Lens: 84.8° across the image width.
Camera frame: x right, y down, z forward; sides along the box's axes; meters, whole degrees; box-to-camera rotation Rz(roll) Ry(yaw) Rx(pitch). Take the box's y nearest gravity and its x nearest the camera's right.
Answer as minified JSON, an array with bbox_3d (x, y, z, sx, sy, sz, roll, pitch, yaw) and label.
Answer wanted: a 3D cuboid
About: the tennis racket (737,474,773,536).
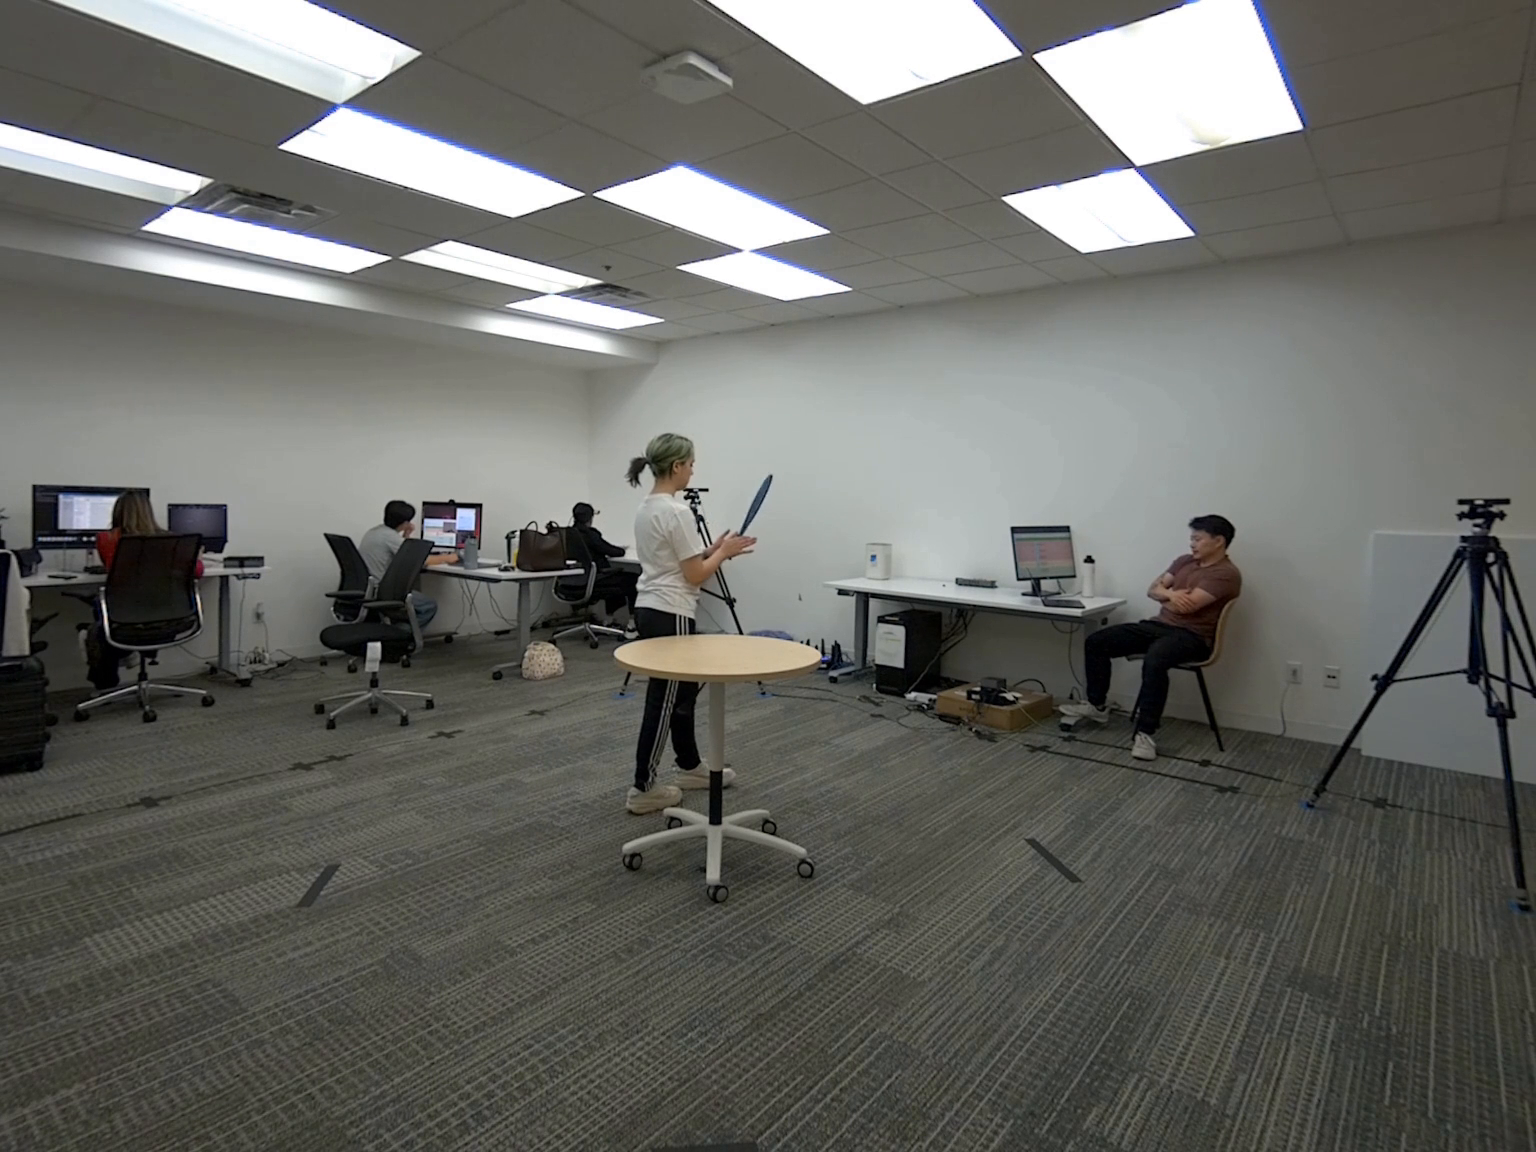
[{"bbox_3d":[-0.100,-0.277,3.857,0.032,0.434,0.213,29,-7,-2],"label":"tennis racket"}]
